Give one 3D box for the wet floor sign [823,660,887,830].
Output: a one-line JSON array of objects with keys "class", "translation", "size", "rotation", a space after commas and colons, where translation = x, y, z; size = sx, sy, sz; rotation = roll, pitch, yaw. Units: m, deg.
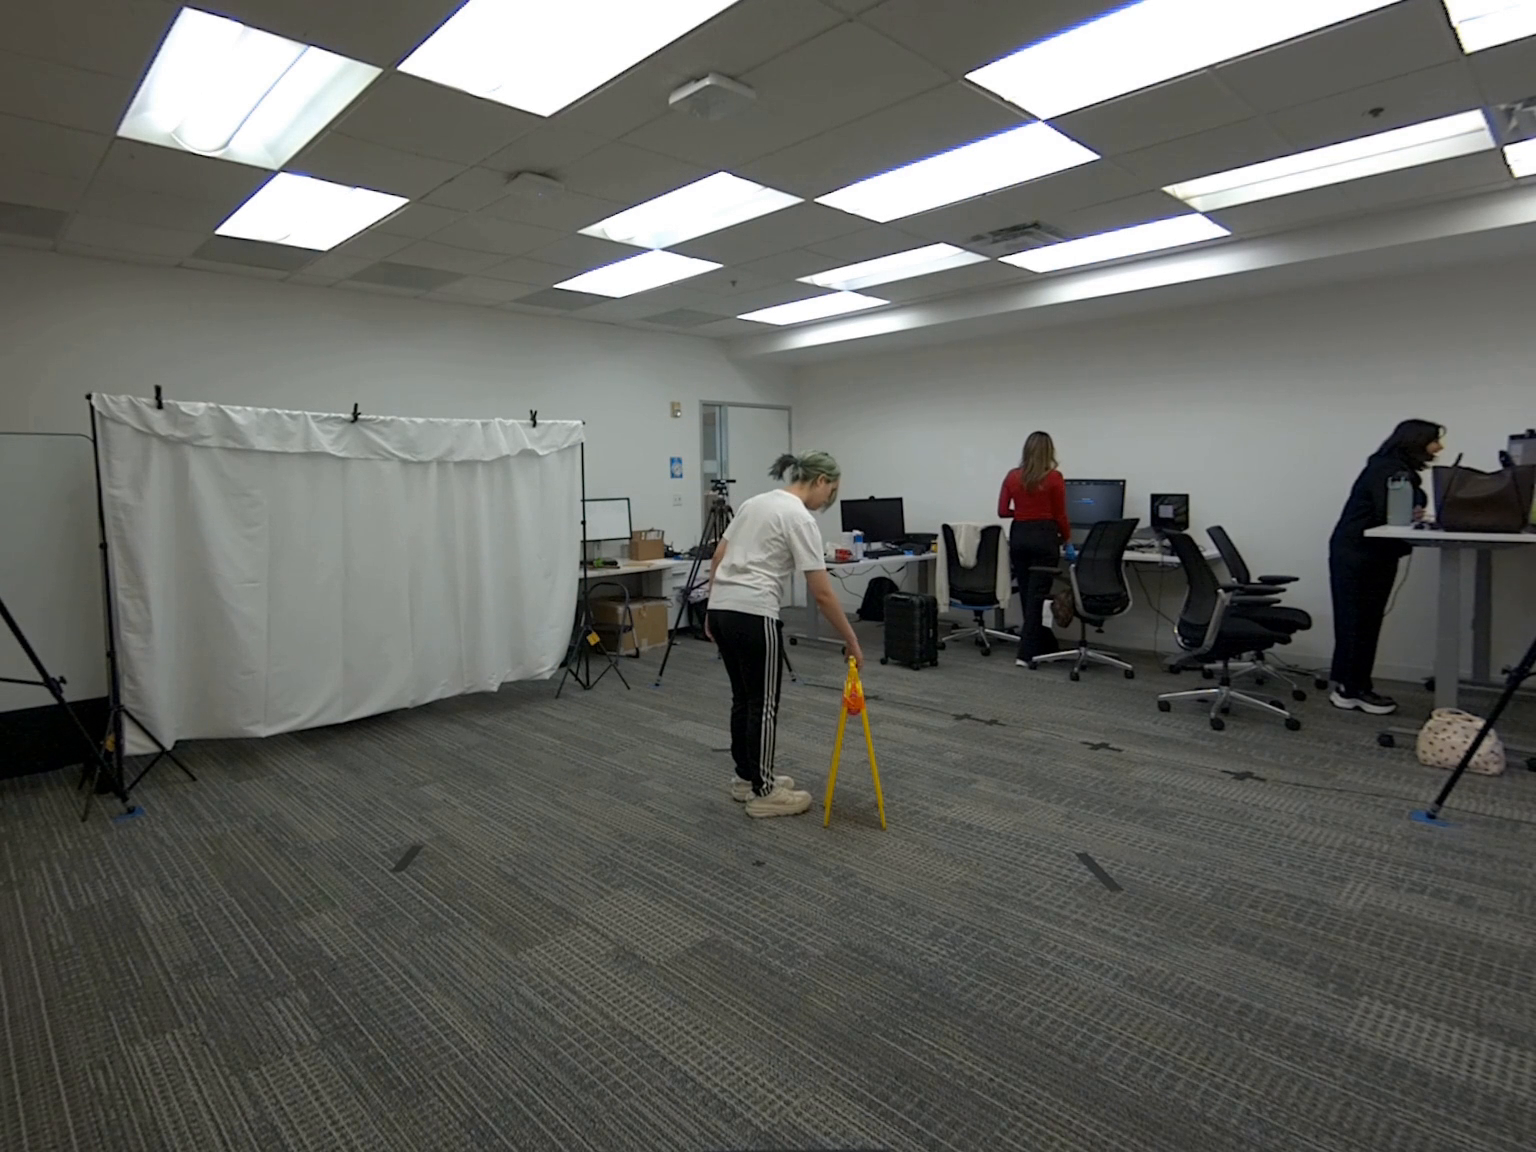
[{"class": "wet floor sign", "translation": [0.352, 0.673, 3.533], "size": [0.291, 0.644, 0.281], "rotation": [1, 3, 5]}]
